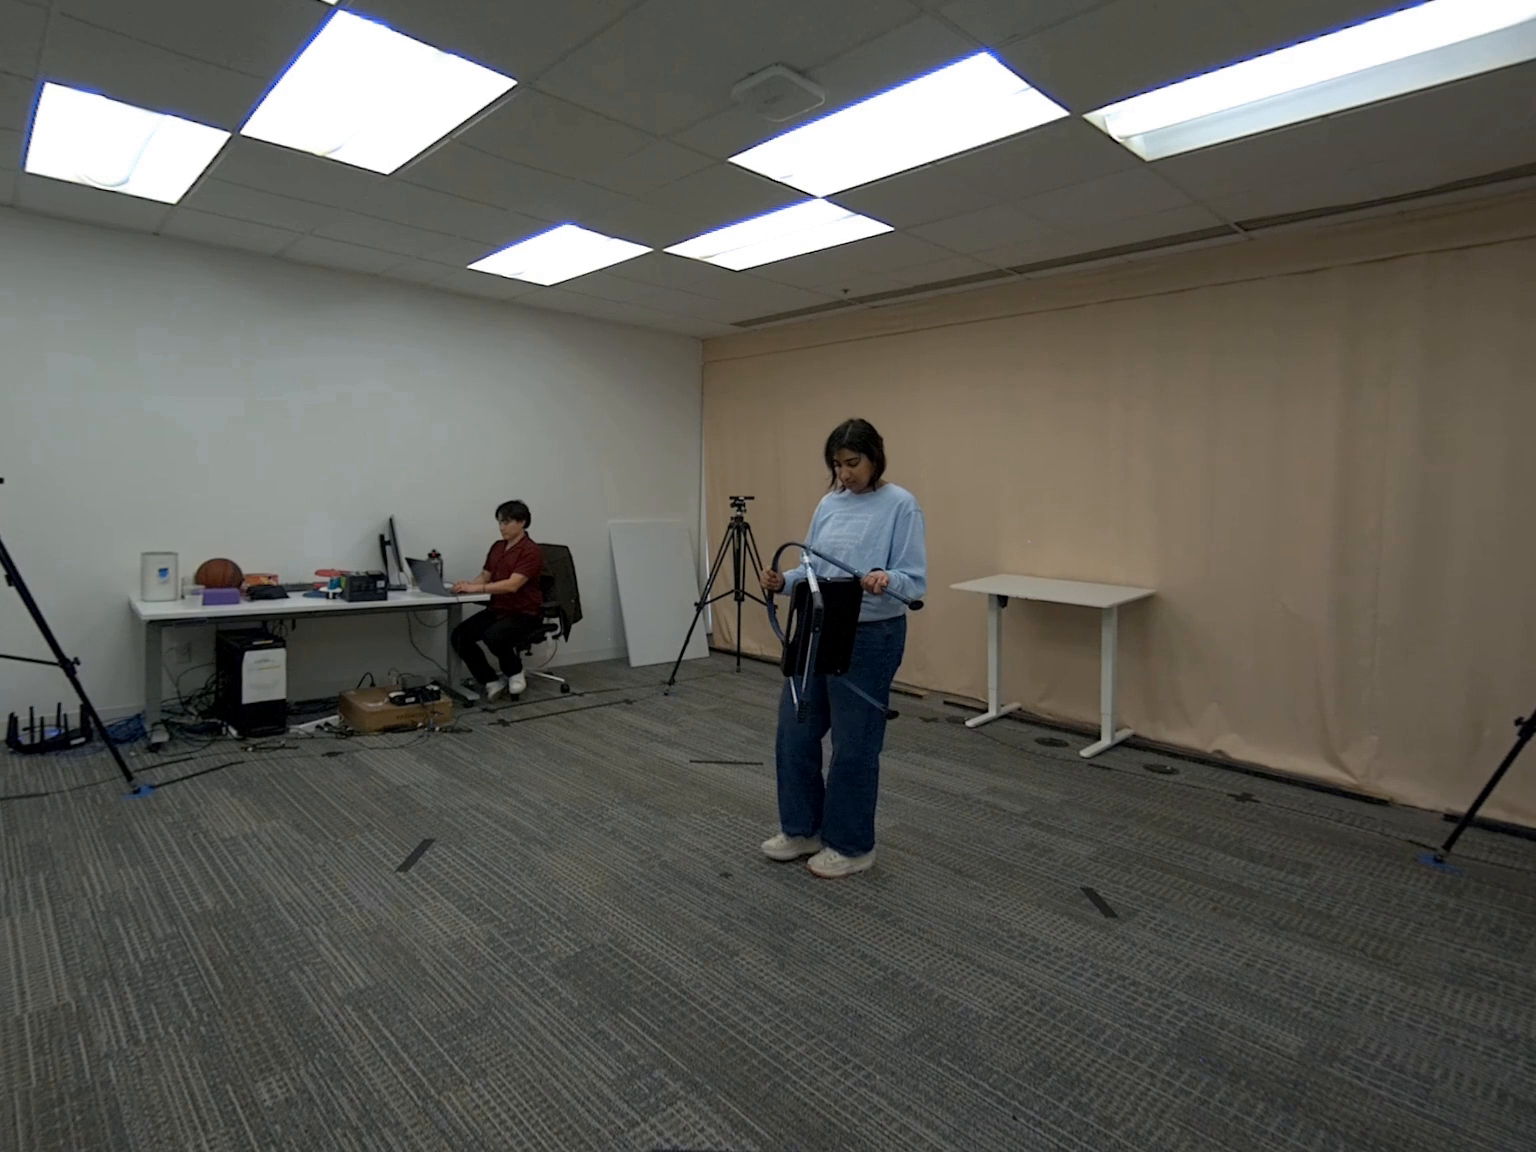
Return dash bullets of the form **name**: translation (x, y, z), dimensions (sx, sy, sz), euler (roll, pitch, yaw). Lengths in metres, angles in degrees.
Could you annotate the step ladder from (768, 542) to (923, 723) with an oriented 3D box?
- **step ladder**: translation (0.165, 0.141, 2.867), dimensions (0.344, 0.425, 0.623), euler (-2, 25, -21)
